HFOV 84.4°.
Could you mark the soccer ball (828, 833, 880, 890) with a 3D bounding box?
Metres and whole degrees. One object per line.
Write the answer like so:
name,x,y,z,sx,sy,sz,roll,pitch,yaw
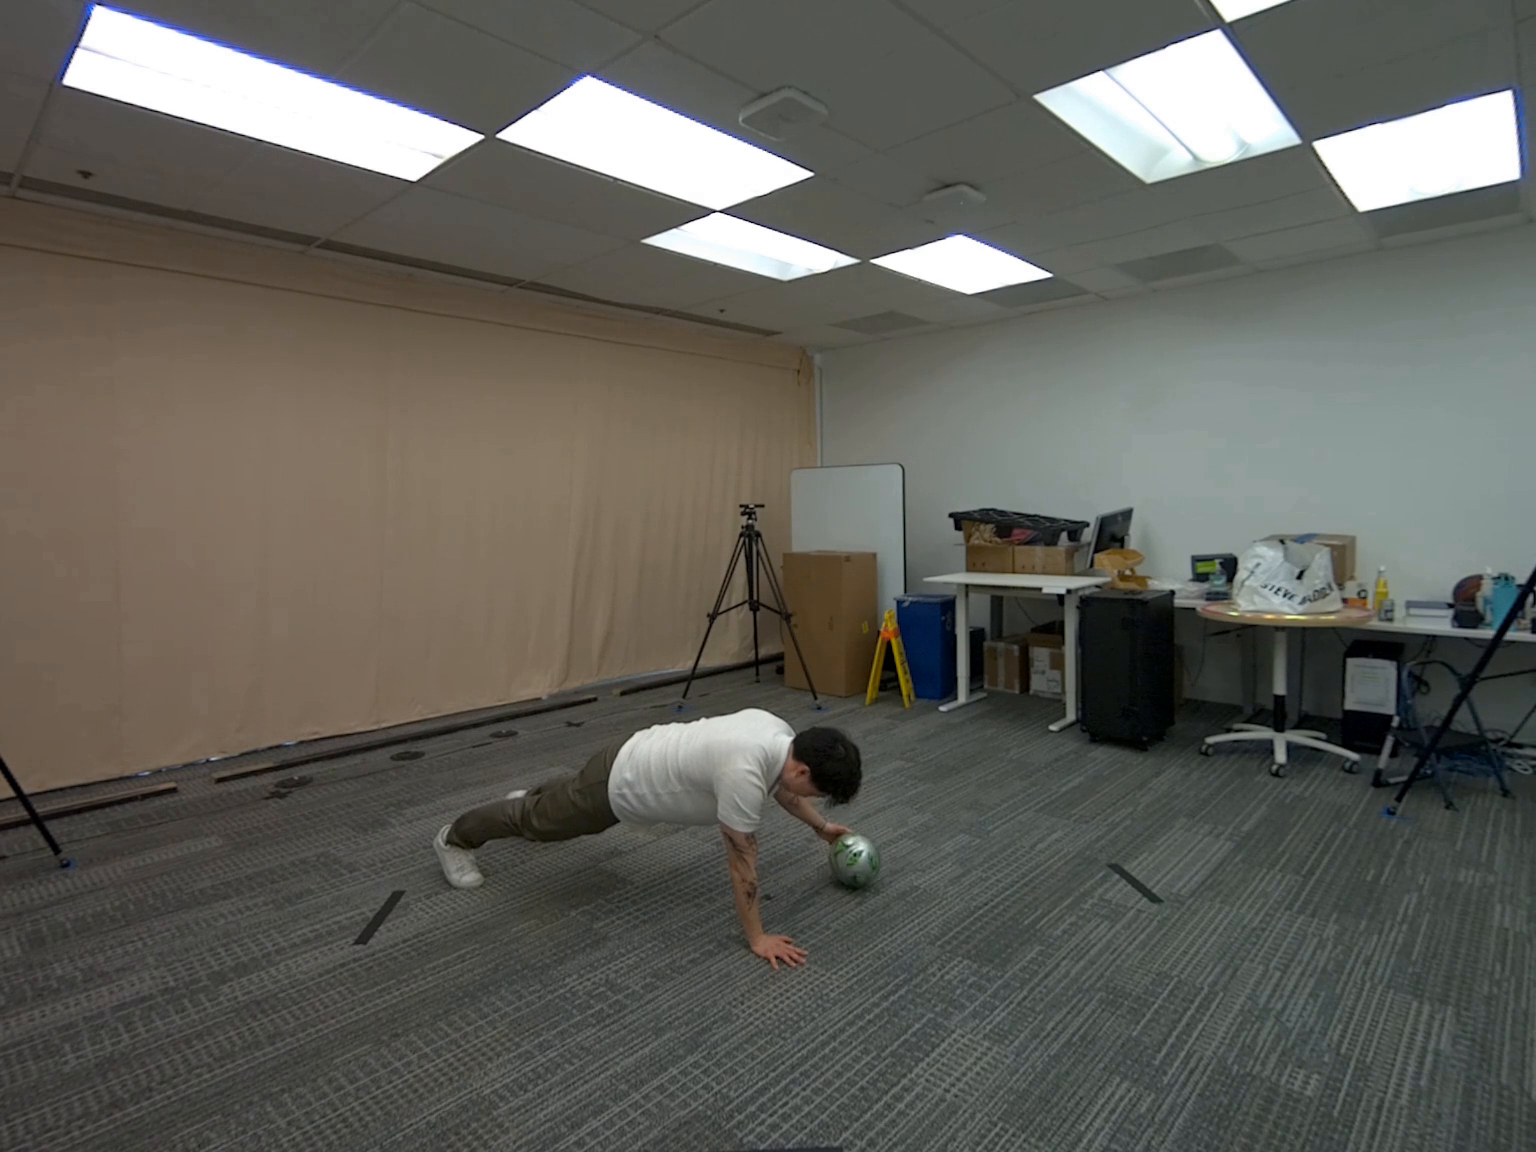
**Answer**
soccer ball,0.316,1.034,3.049,0.187,0.187,0.188,-1,4,-2
